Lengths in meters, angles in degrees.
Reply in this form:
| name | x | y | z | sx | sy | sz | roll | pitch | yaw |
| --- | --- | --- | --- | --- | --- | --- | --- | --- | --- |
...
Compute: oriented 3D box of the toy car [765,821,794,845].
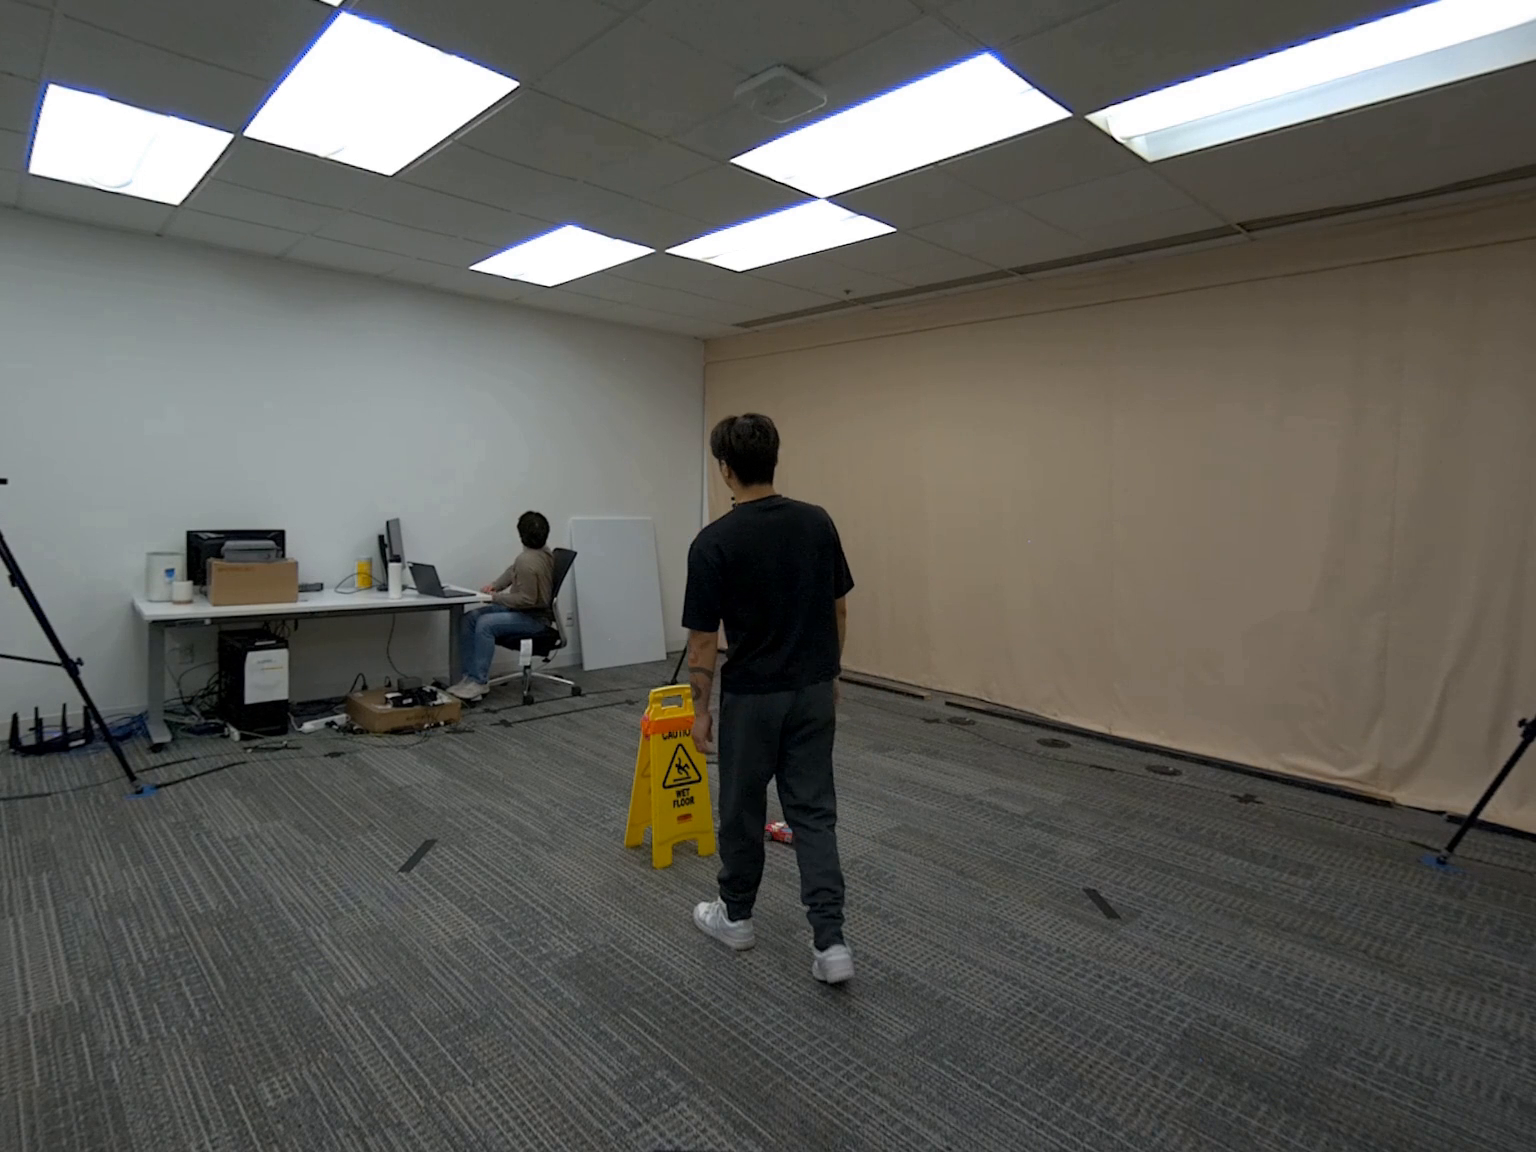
| name | x | y | z | sx | sy | sz | roll | pitch | yaw |
| --- | --- | --- | --- | --- | --- | --- | --- | --- | --- |
| toy car | 0.098 | 1.060 | 3.435 | 0.259 | 0.083 | 0.127 | -8 | -3 | 34 |
